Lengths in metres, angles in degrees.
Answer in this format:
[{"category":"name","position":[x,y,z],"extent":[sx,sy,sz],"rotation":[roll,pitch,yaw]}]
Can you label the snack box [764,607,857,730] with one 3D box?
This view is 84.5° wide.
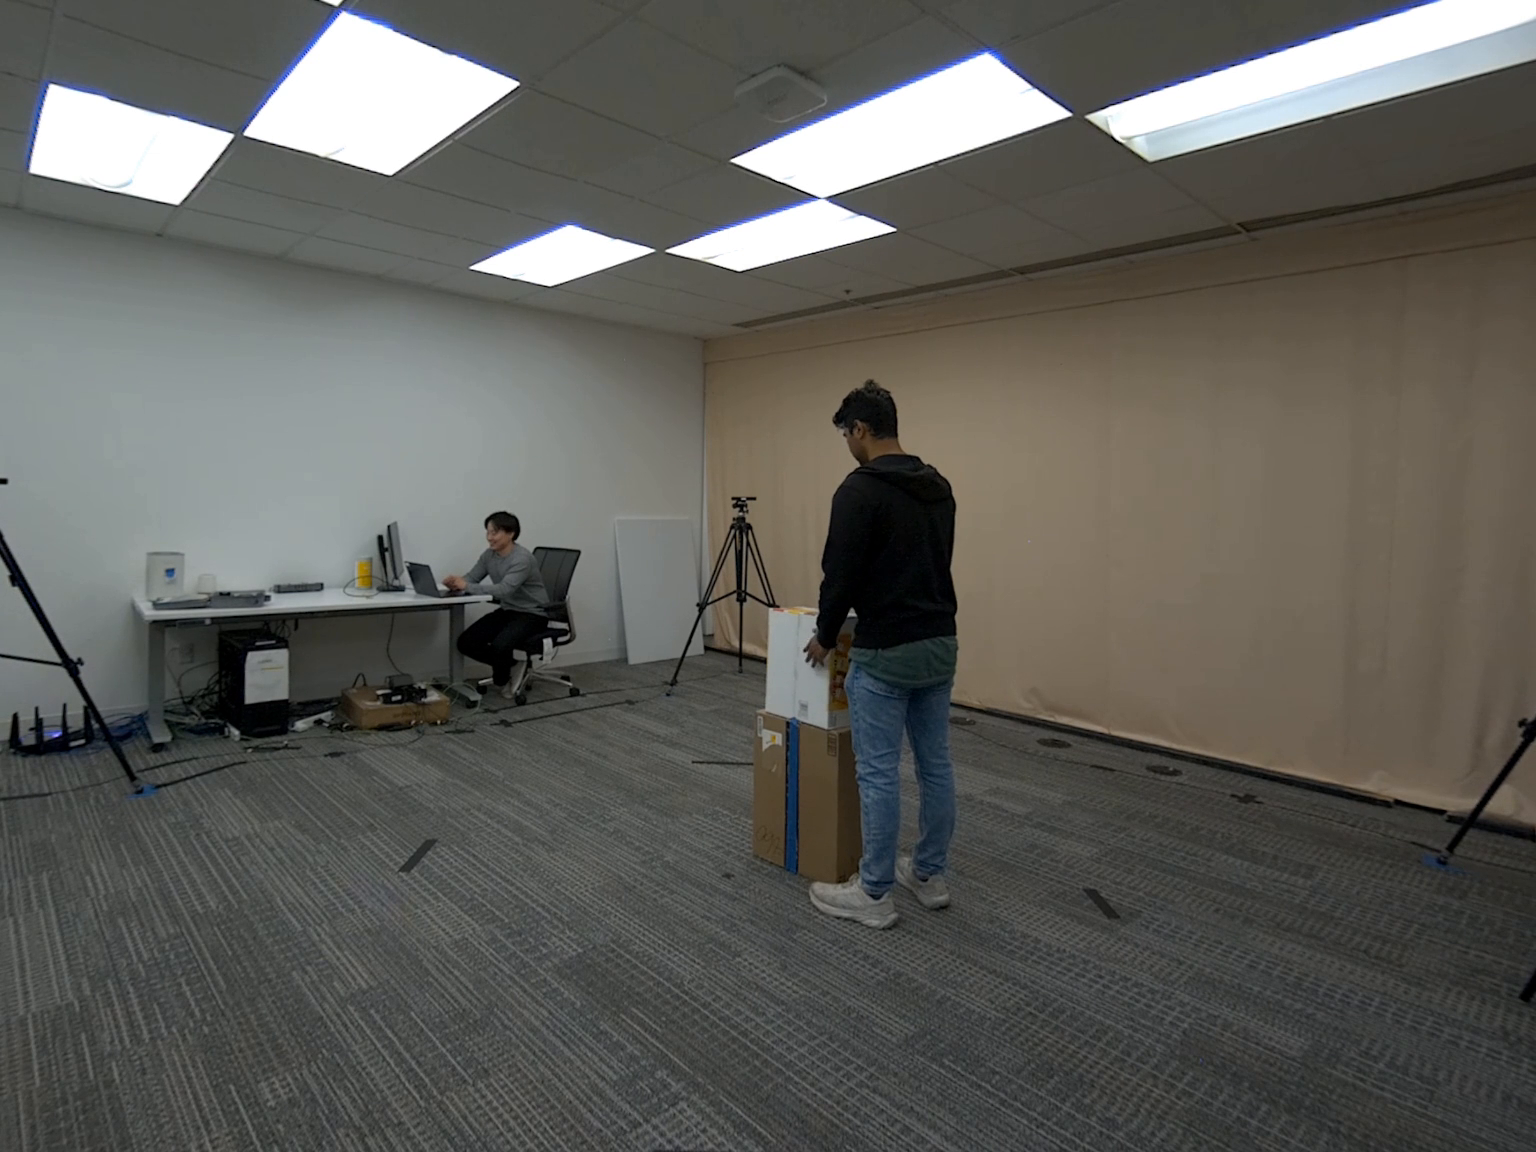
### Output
[{"category":"snack box","position":[0.175,0.337,3.195],"extent":[0.201,0.404,0.349],"rotation":[0,3,-41]}]
